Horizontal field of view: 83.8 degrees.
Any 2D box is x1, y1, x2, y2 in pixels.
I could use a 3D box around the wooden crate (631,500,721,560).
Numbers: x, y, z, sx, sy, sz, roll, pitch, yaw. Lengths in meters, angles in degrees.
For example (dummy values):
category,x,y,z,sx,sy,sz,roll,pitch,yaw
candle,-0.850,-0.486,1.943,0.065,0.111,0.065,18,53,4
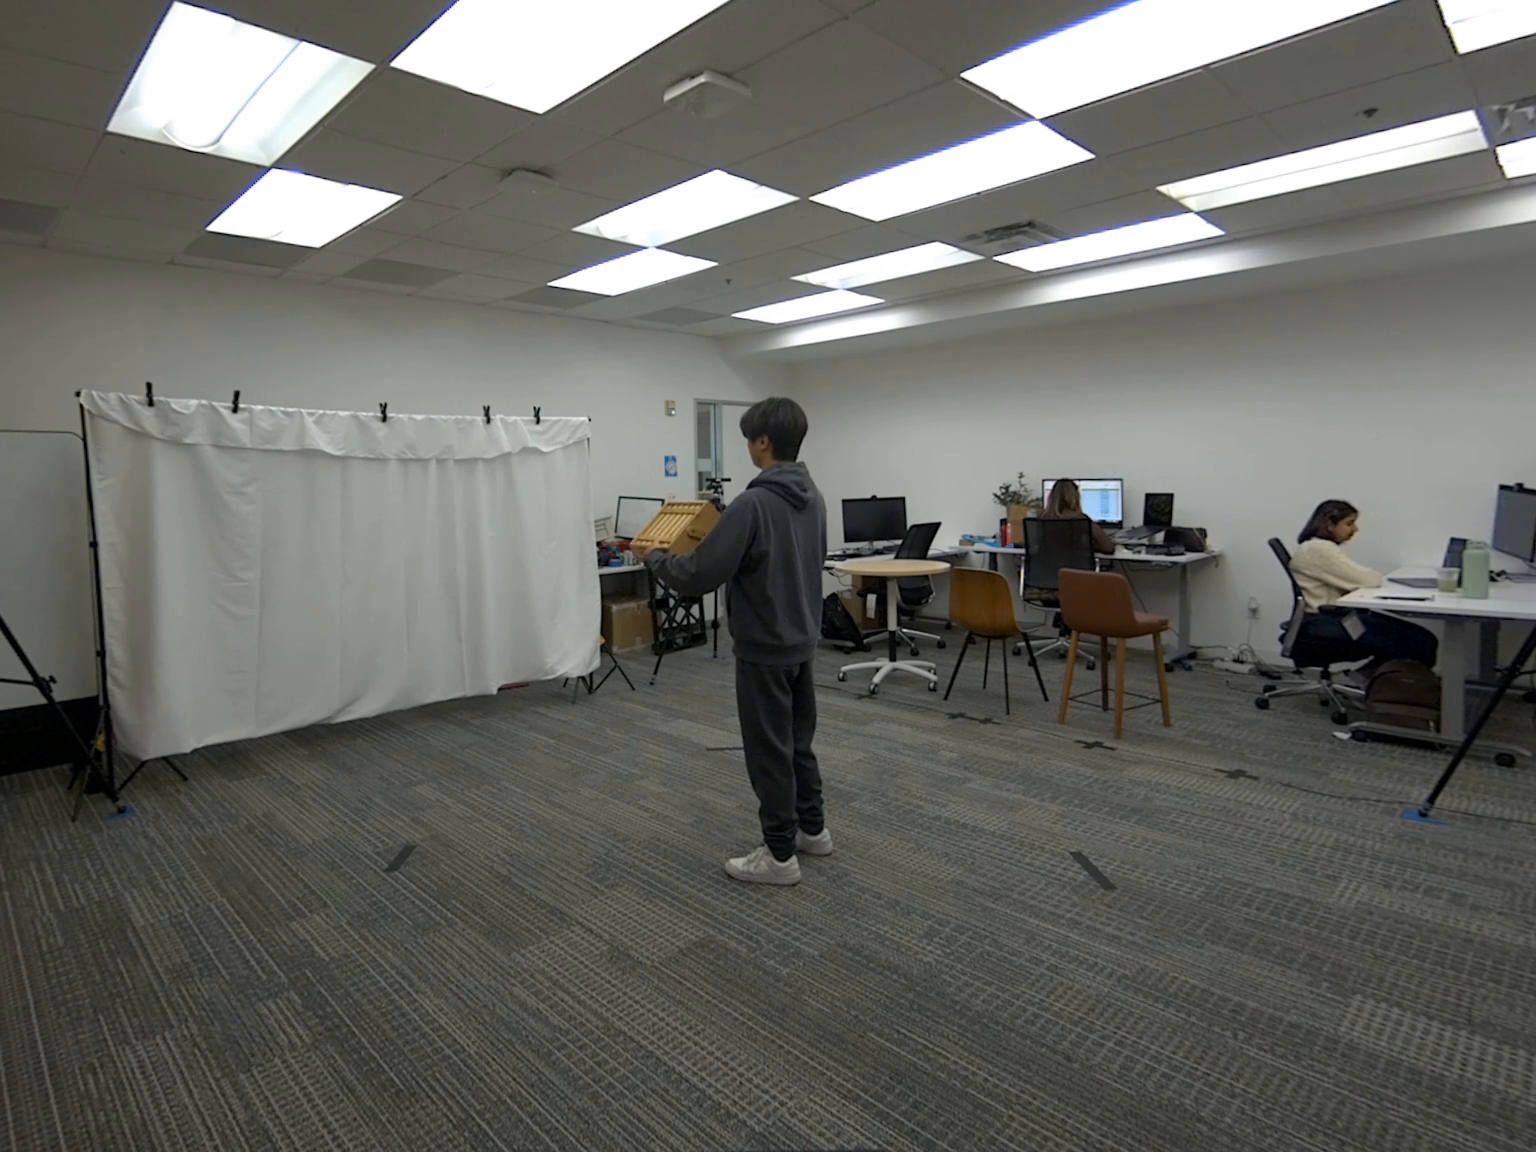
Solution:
category,x,y,z,sx,sy,sz,roll,pitch,yaw
wooden crate,-0.271,-0.112,3.141,0.265,0.302,0.333,48,-21,-25
